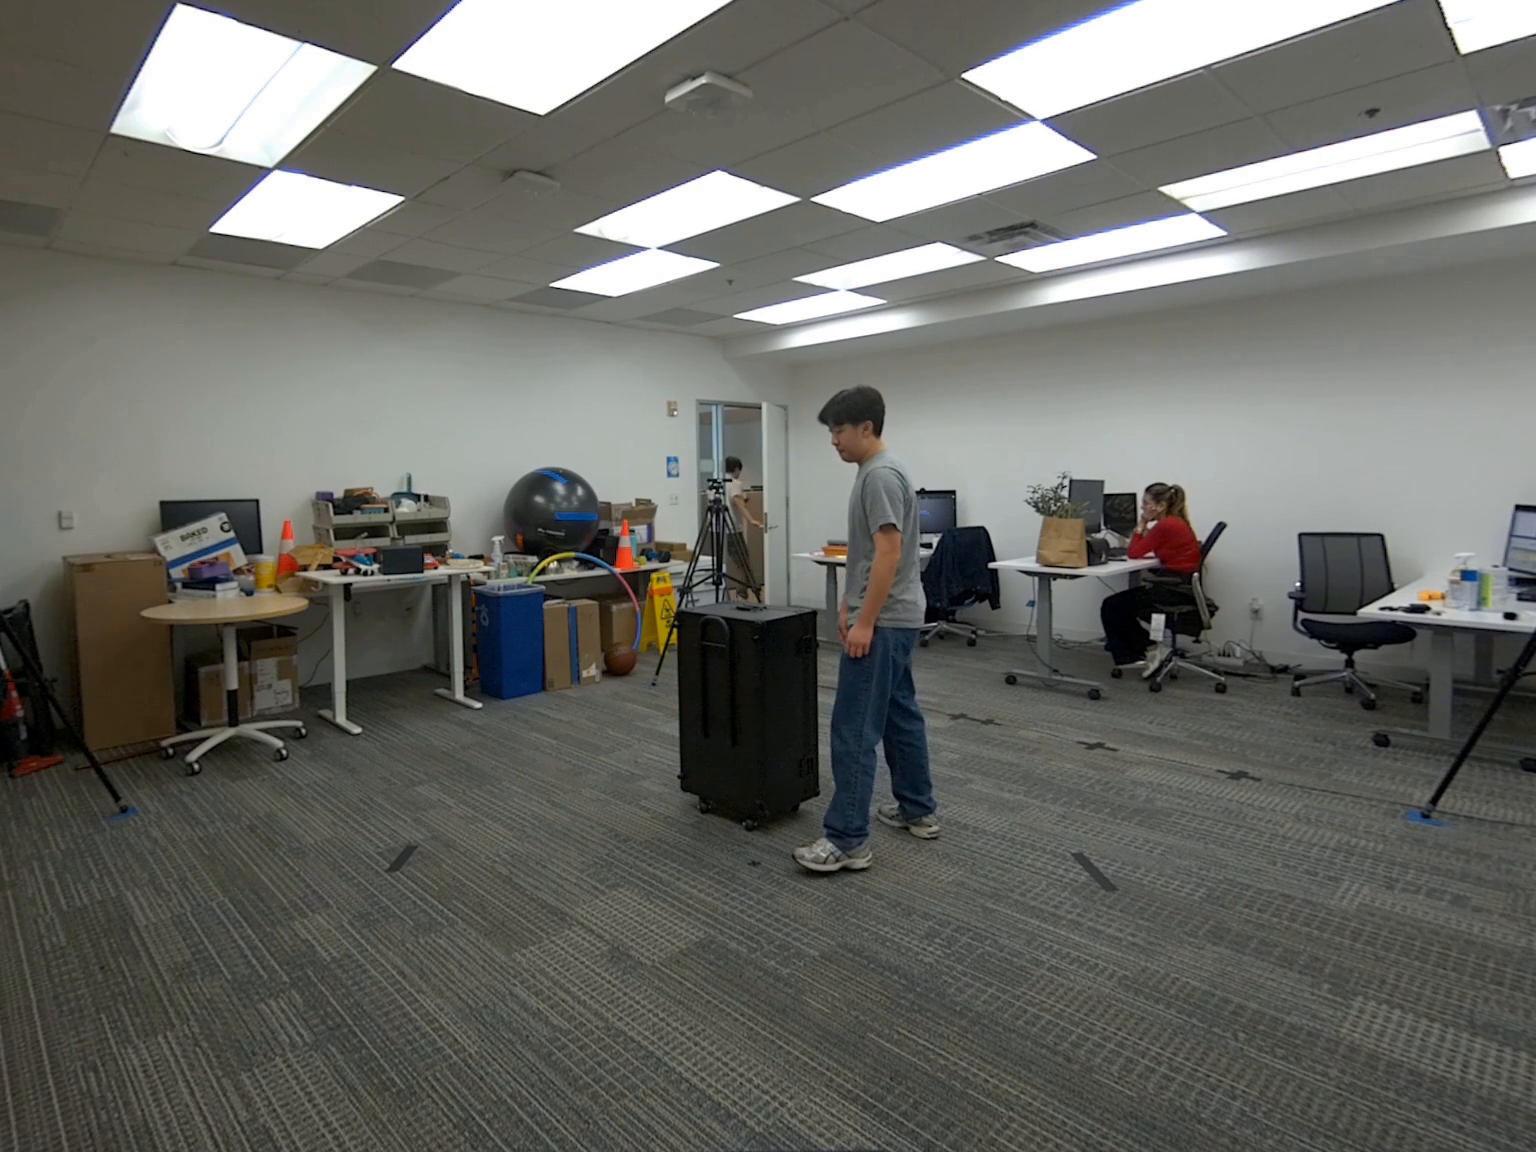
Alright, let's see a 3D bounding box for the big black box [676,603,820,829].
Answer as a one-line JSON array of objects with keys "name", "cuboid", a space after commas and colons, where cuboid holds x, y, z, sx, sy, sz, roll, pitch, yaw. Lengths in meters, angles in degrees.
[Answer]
[{"name": "big black box", "cuboid": [-0.089, 0.568, 3.587, 0.537, 0.858, 0.386, 4, 7, 43]}]
